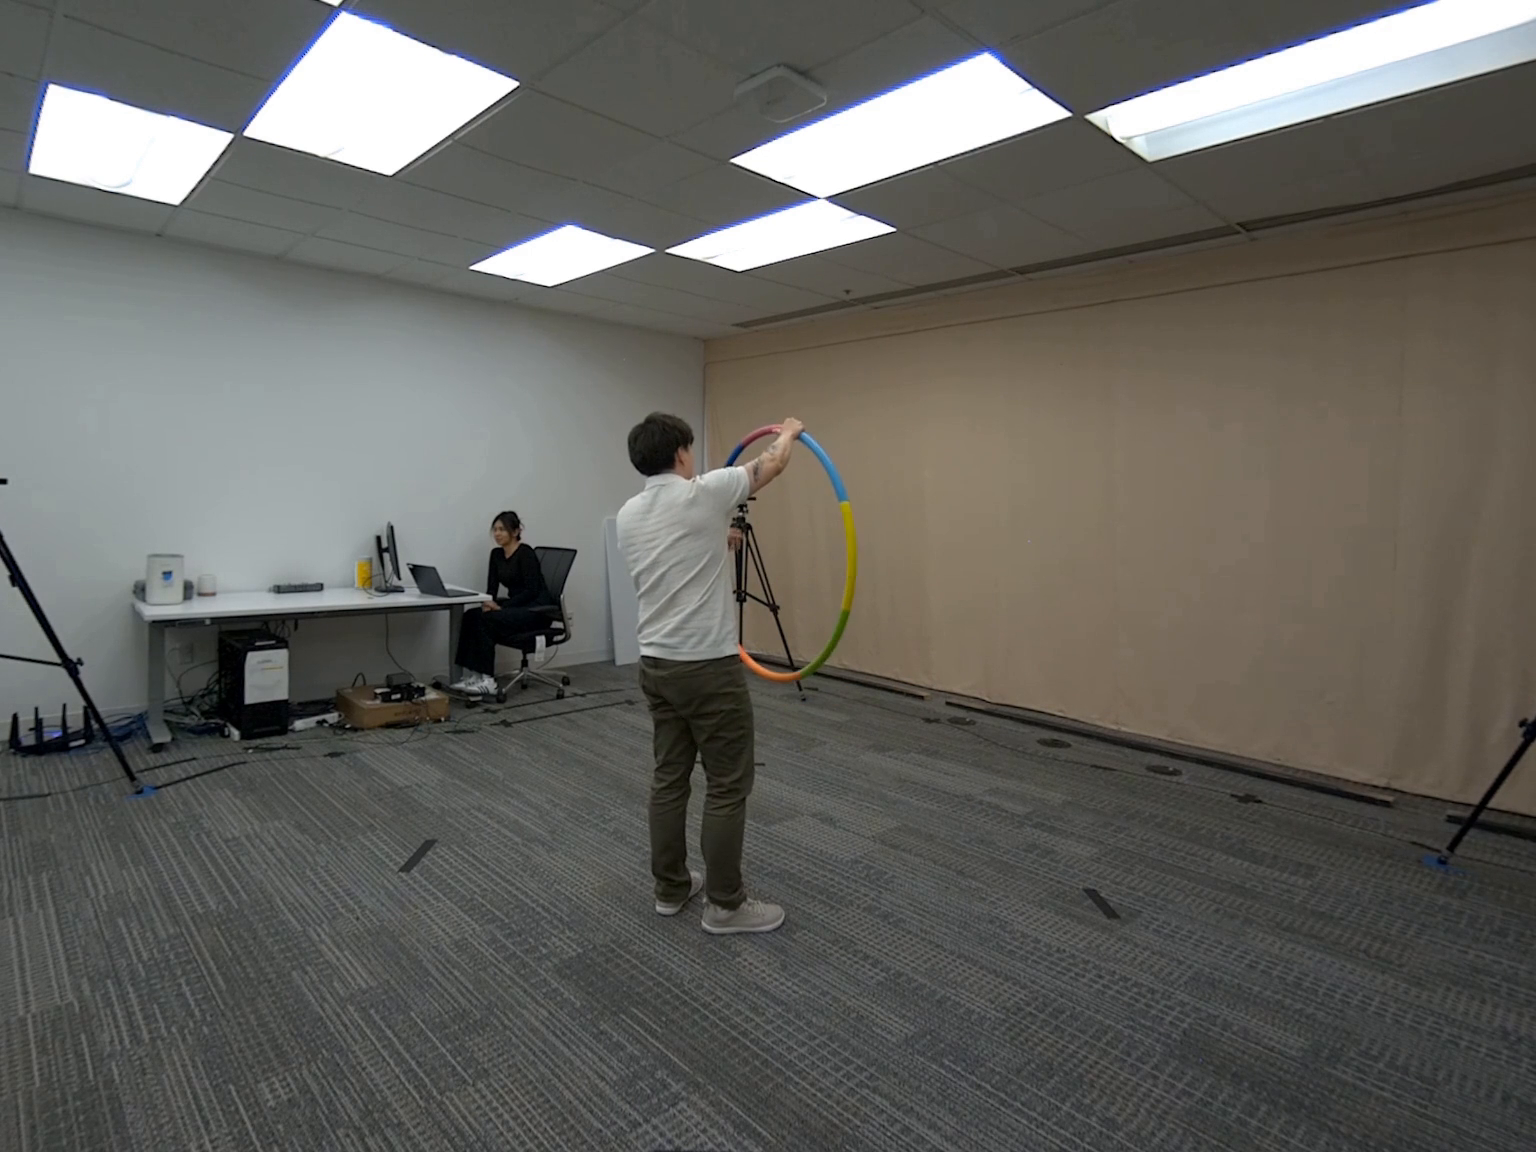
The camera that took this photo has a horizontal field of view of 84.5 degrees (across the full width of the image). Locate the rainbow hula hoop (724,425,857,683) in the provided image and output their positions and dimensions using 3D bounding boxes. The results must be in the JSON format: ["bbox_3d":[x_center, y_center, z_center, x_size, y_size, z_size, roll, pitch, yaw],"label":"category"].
[{"bbox_3d":[0.016,-0.083,3.258,0.035,0.975,1.002,-3,6,-33],"label":"rainbow hula hoop"}]
